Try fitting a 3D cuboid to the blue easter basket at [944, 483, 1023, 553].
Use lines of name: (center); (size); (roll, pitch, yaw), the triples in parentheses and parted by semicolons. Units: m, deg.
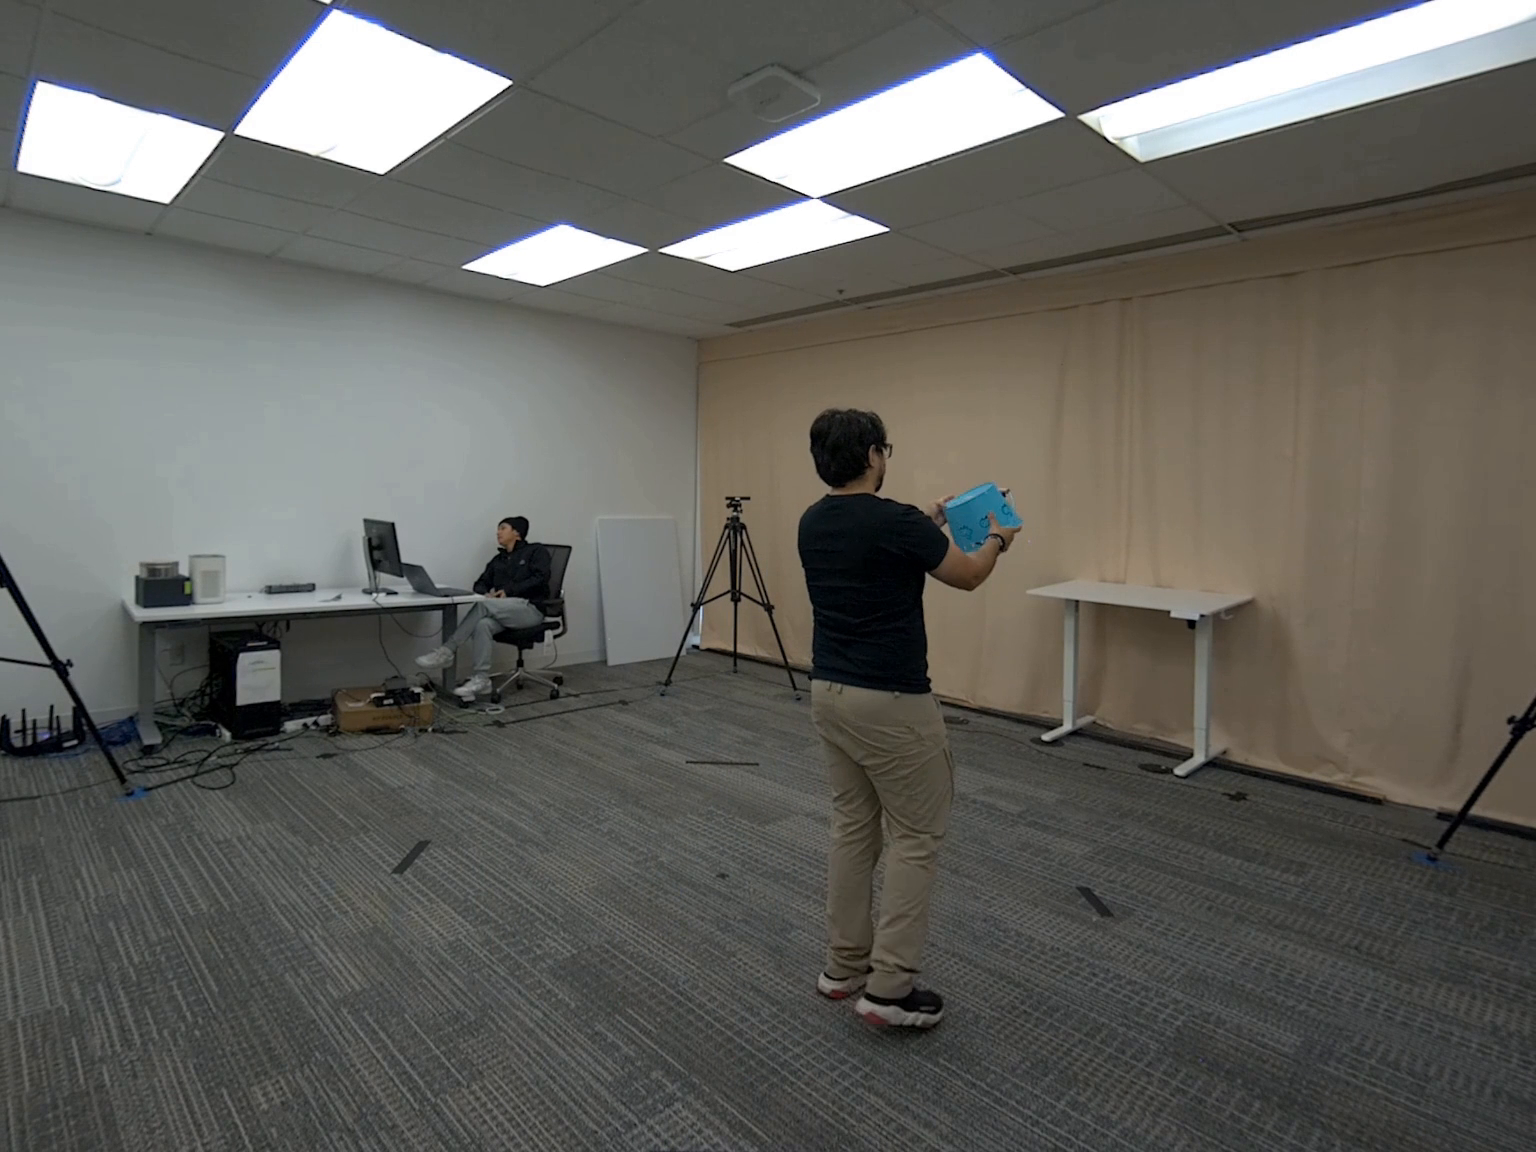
blue easter basket: (0.681, -0.190, 2.727); (0.243, 0.155, 0.244); (-29, 5, 1)
